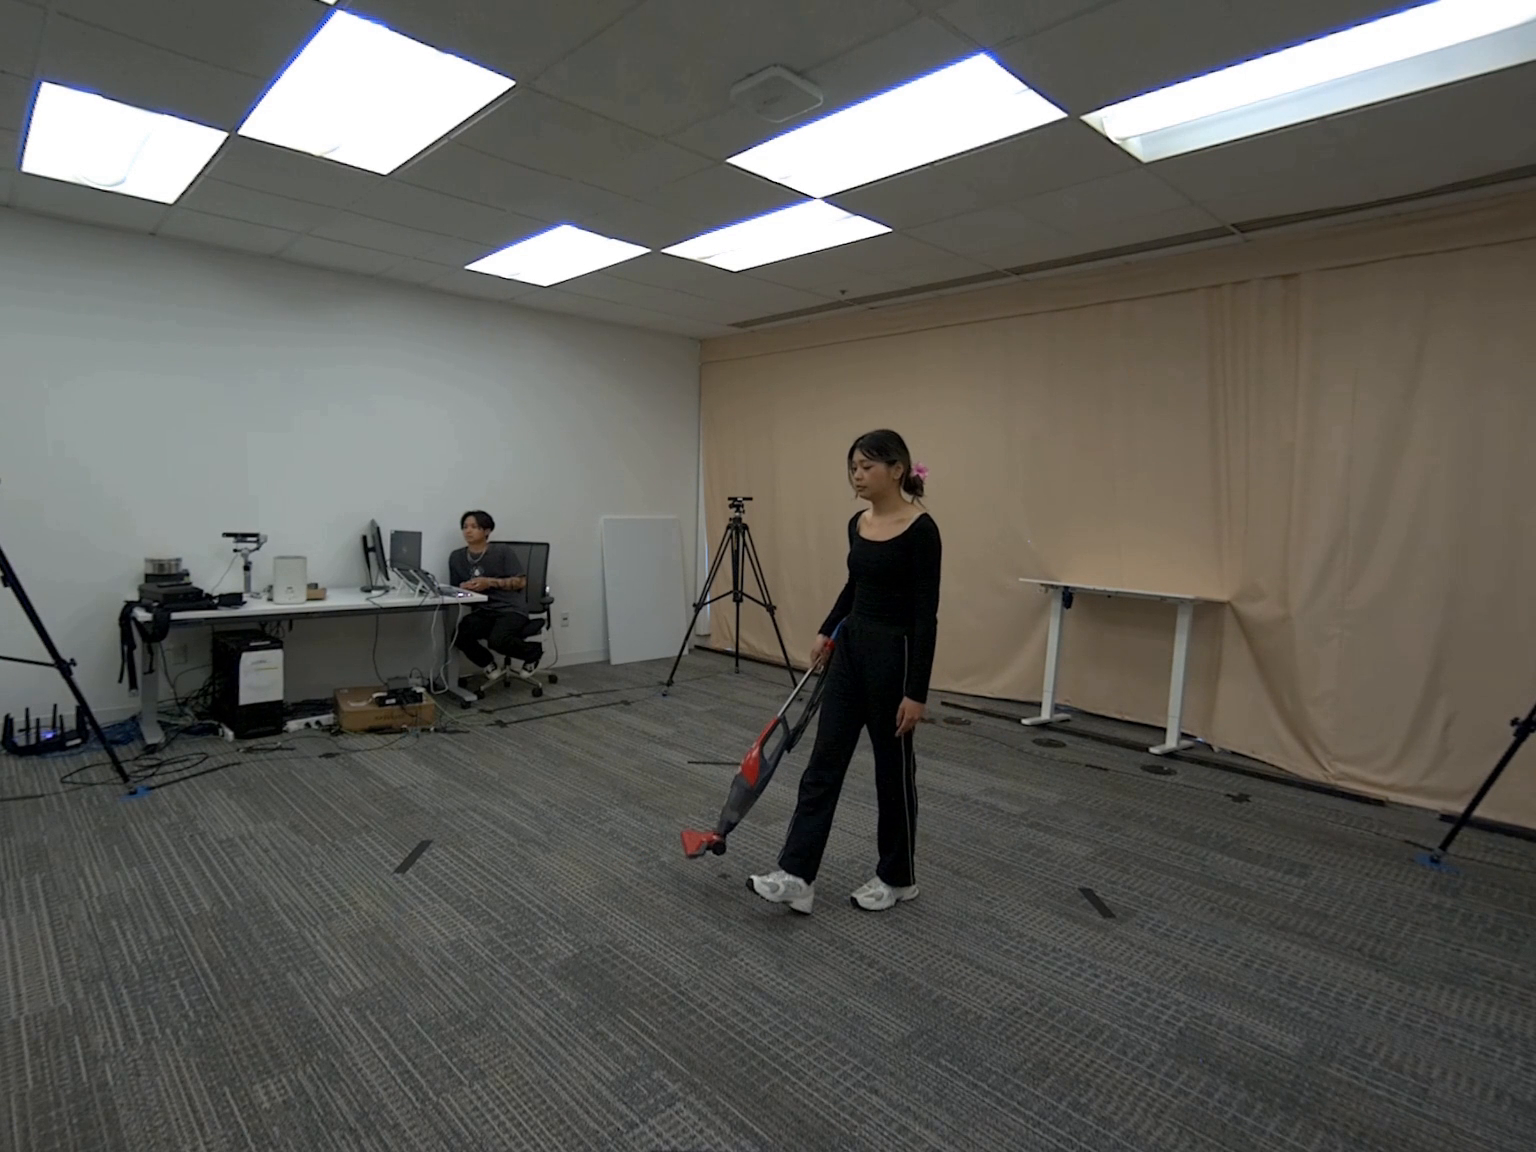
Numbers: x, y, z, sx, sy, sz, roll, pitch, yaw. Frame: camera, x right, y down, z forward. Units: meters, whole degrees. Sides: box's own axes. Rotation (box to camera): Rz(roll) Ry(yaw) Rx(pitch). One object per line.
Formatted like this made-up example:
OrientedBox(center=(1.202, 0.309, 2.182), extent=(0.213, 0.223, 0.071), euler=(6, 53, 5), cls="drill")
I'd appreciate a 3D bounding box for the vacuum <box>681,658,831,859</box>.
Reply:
OrientedBox(center=(0.050, 0.539, 3.024), extent=(0.143, 1.050, 0.254), euler=(36, -7, -8), cls="vacuum")
